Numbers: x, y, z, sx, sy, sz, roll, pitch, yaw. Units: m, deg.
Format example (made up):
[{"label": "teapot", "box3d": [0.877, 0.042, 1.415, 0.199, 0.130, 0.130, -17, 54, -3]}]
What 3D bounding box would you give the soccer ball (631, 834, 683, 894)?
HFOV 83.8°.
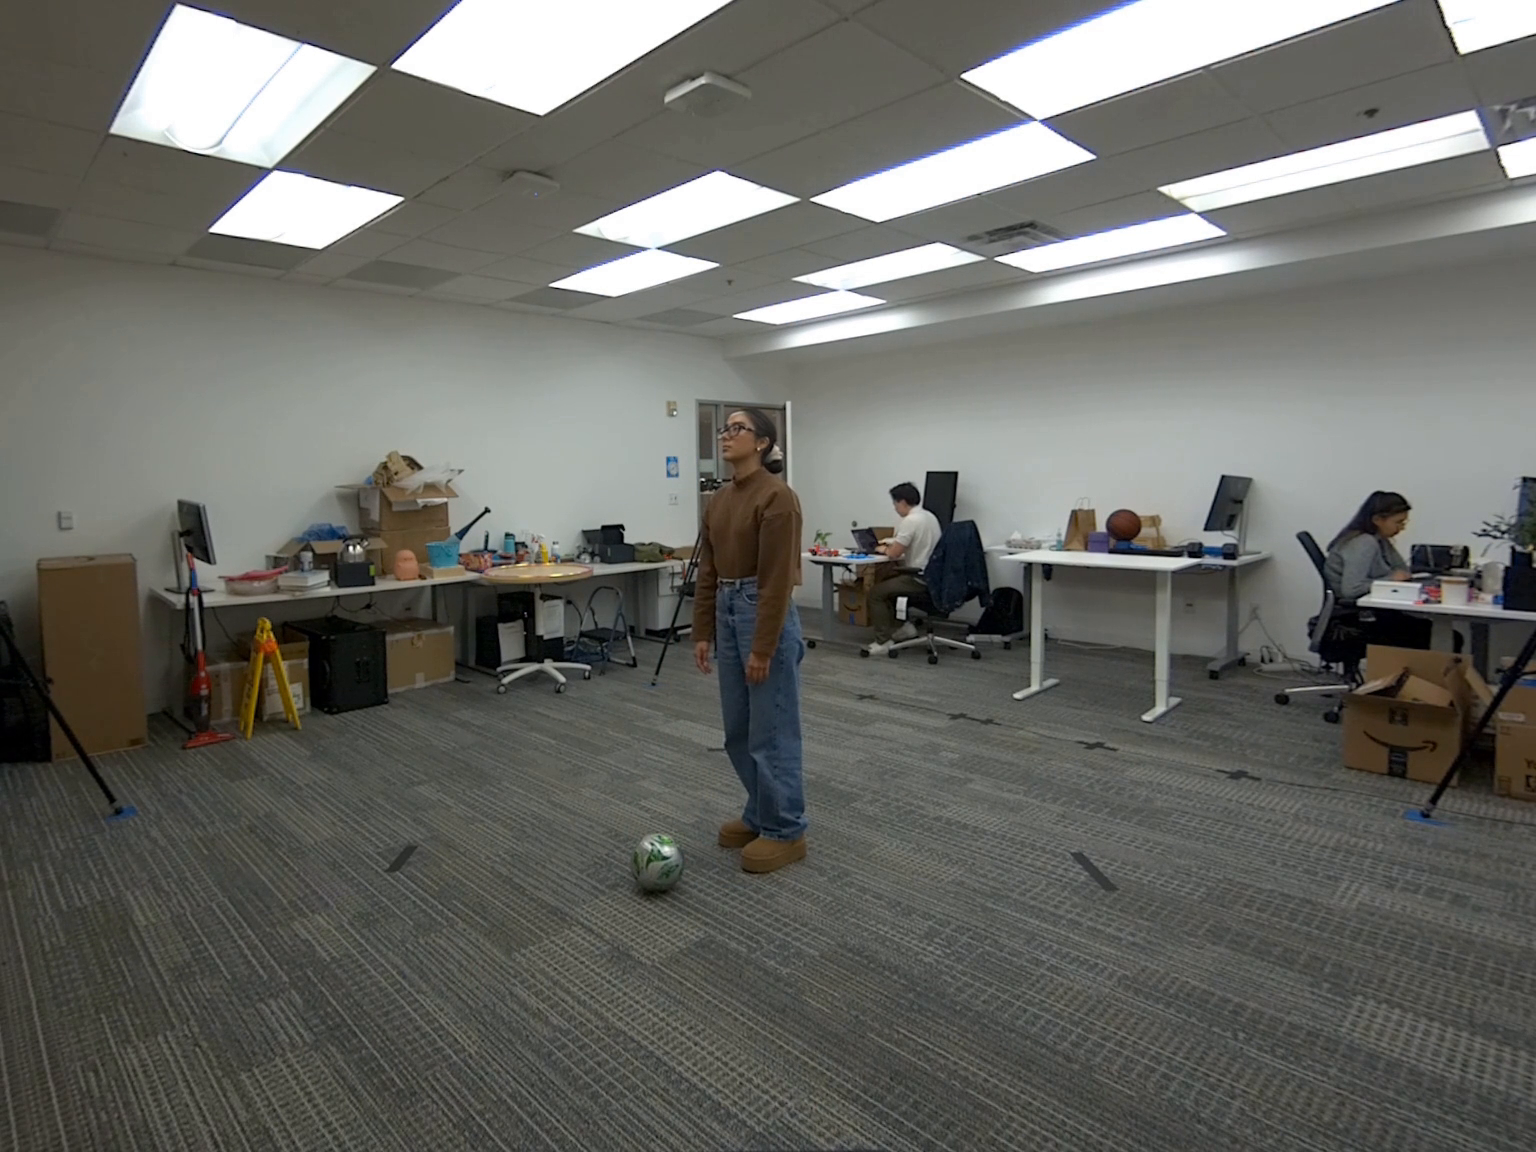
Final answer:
[{"label": "soccer ball", "box3d": [-0.372, 0.980, 2.916, 0.187, 0.187, 0.188, -1, 5, -2]}]
